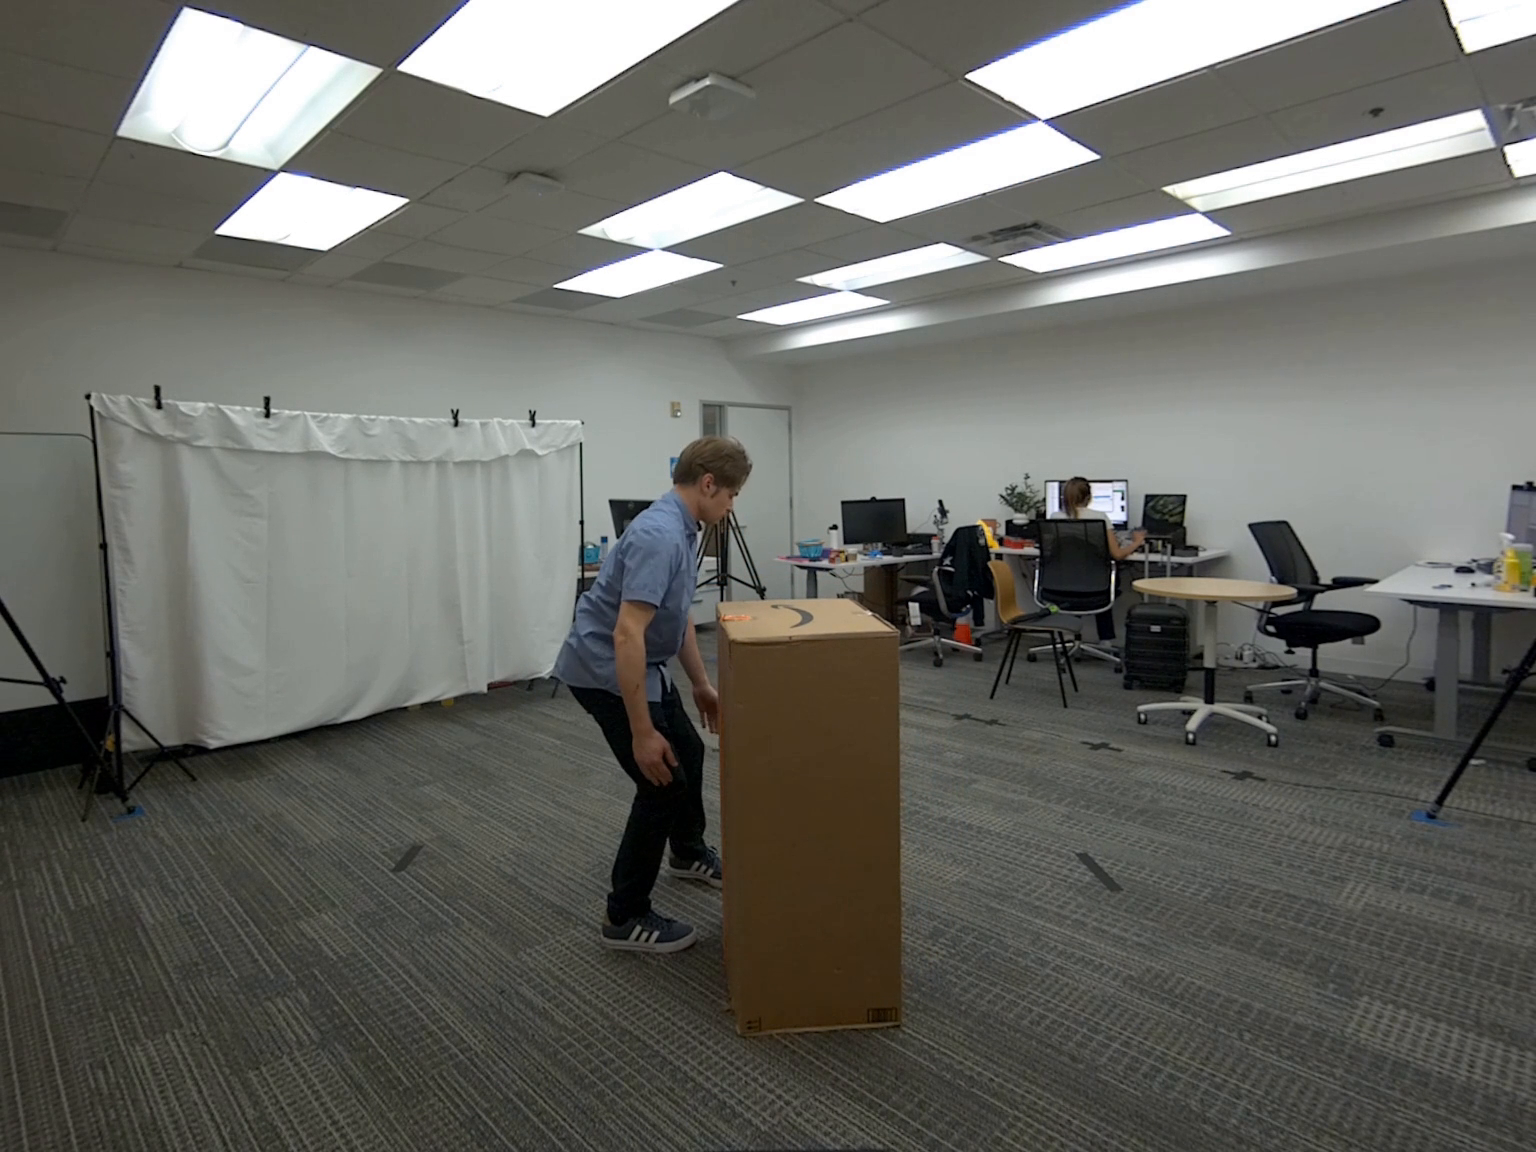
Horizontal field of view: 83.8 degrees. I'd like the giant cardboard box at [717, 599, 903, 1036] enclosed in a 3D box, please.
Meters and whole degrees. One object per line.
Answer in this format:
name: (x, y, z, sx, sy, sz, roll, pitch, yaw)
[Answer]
giant cardboard box: (0.096, 0.621, 2.399, 0.424, 1.021, 0.582, -2, 5, -5)
